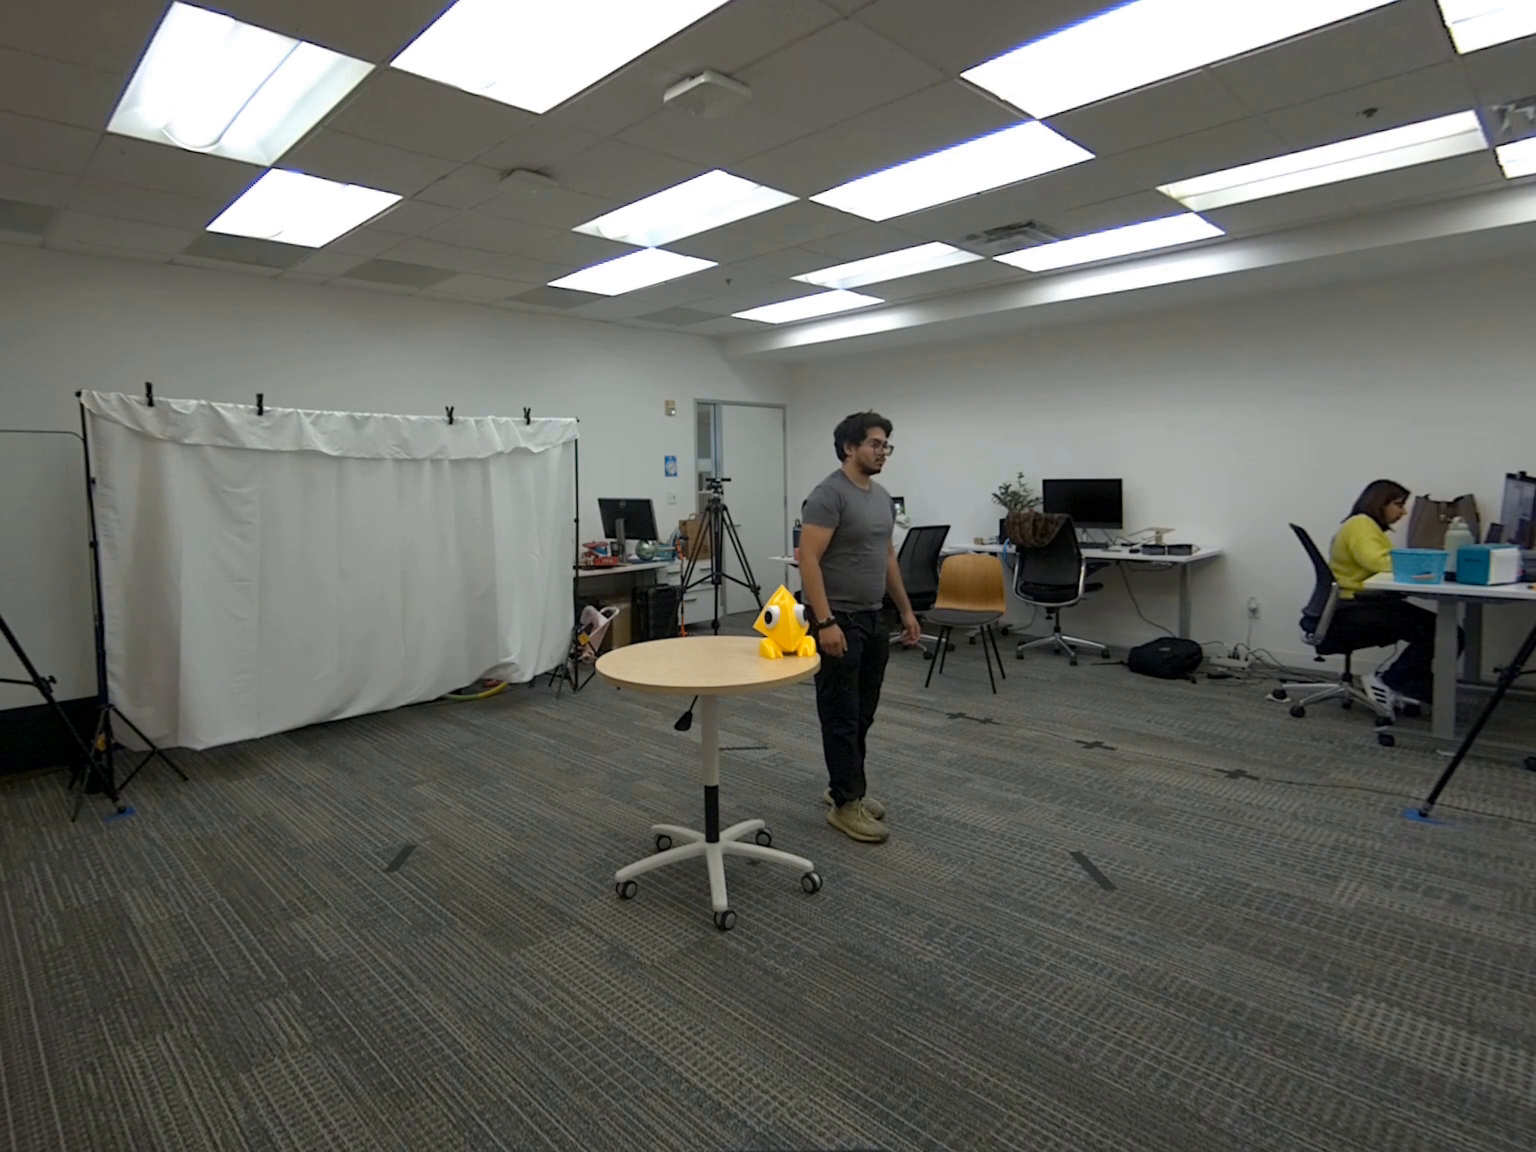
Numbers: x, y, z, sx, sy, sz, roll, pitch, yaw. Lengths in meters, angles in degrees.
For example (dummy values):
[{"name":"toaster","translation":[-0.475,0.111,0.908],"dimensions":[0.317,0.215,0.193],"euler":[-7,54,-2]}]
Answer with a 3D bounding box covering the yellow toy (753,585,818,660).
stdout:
[{"name":"yellow toy","translation":[0.066,0.154,2.974],"dimensions":[0.203,0.230,0.195],"euler":[-2,5,-8]}]
